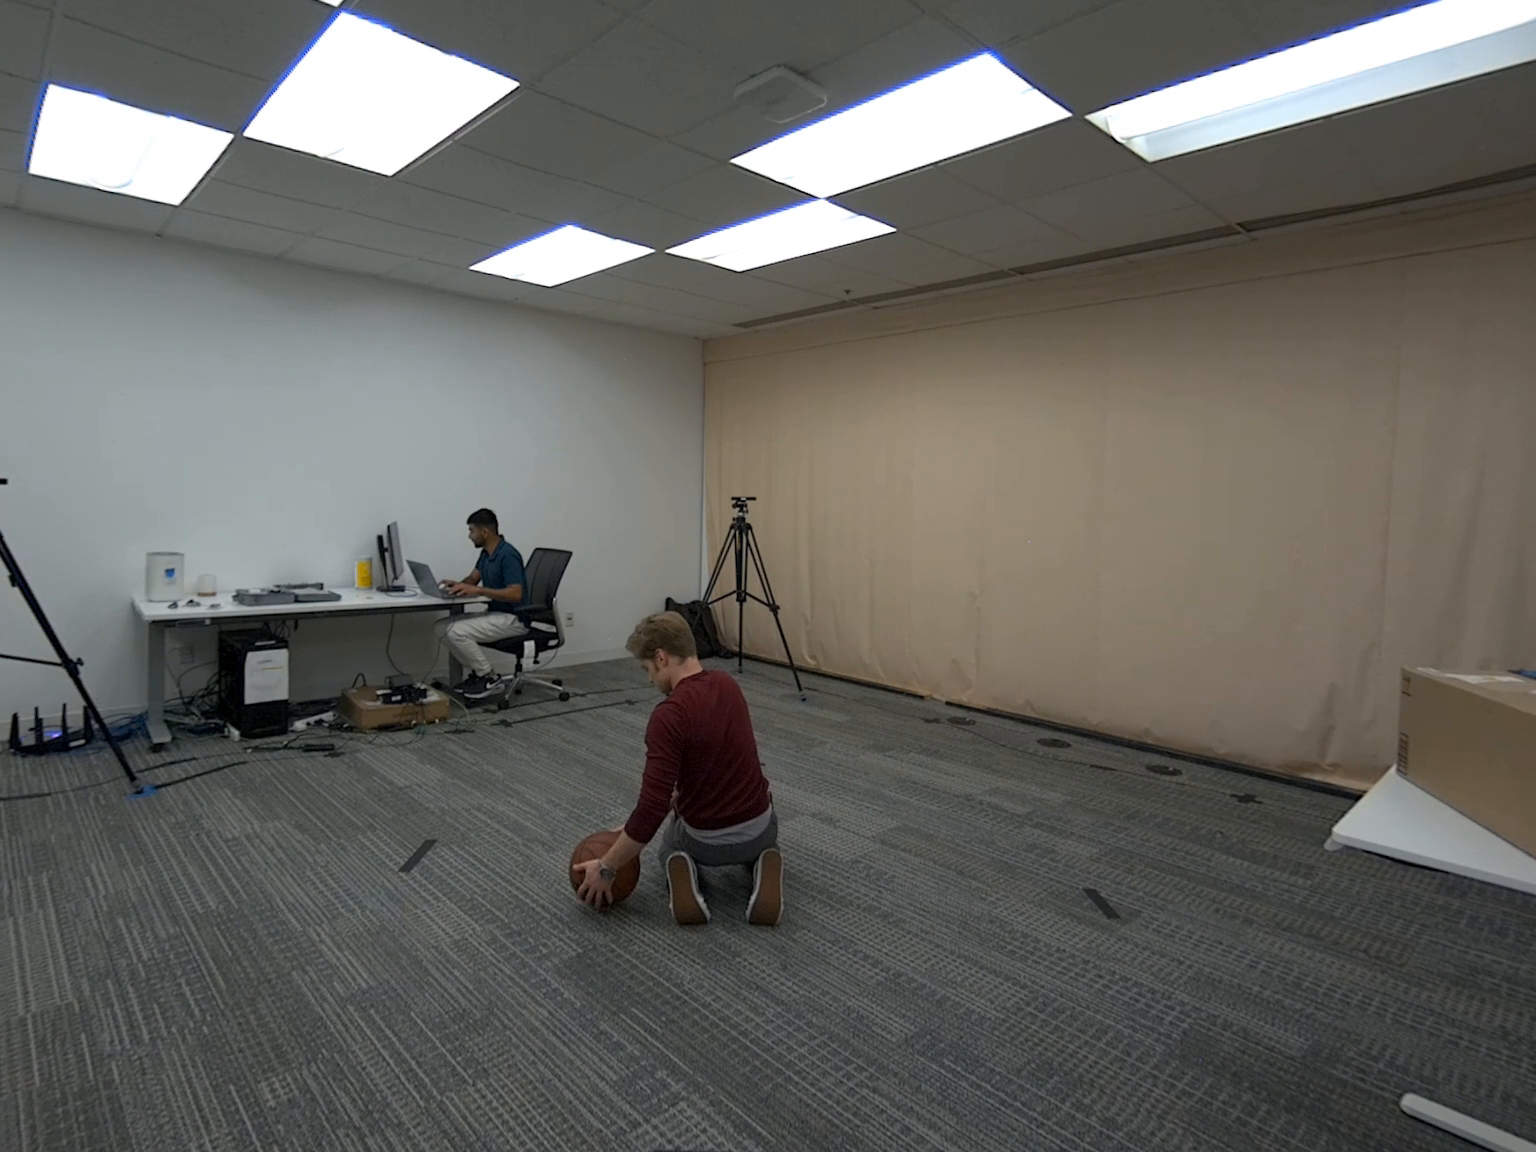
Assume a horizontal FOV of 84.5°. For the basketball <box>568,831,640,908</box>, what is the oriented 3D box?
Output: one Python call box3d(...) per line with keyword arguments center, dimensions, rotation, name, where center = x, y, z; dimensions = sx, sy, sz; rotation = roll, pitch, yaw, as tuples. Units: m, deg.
box3d(center=(-0.555, 0.980, 2.839), dimensions=(0.236, 0.235, 0.237), rotation=(1, 4, -1), name="basketball")
